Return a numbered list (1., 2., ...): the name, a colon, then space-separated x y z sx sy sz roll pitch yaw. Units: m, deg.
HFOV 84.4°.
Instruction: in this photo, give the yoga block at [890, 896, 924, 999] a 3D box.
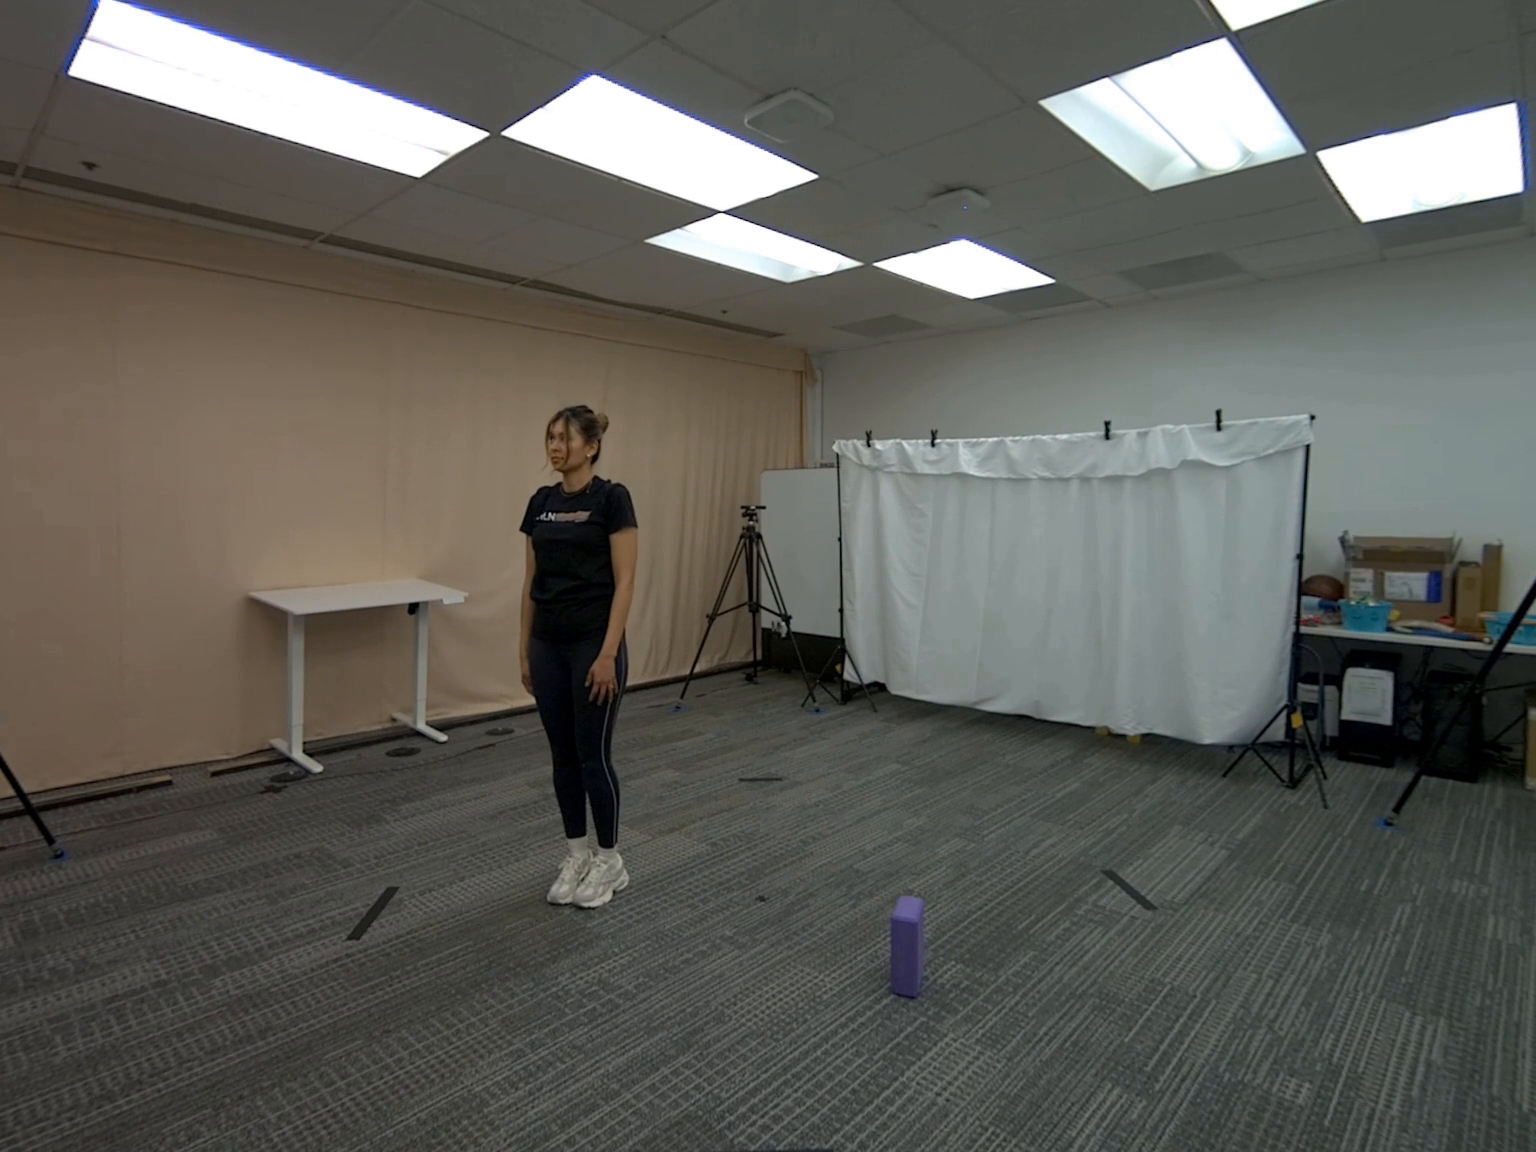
1. yoga block: 0.413 1.076 2.435 0.078 0.229 0.146 2 4 19
